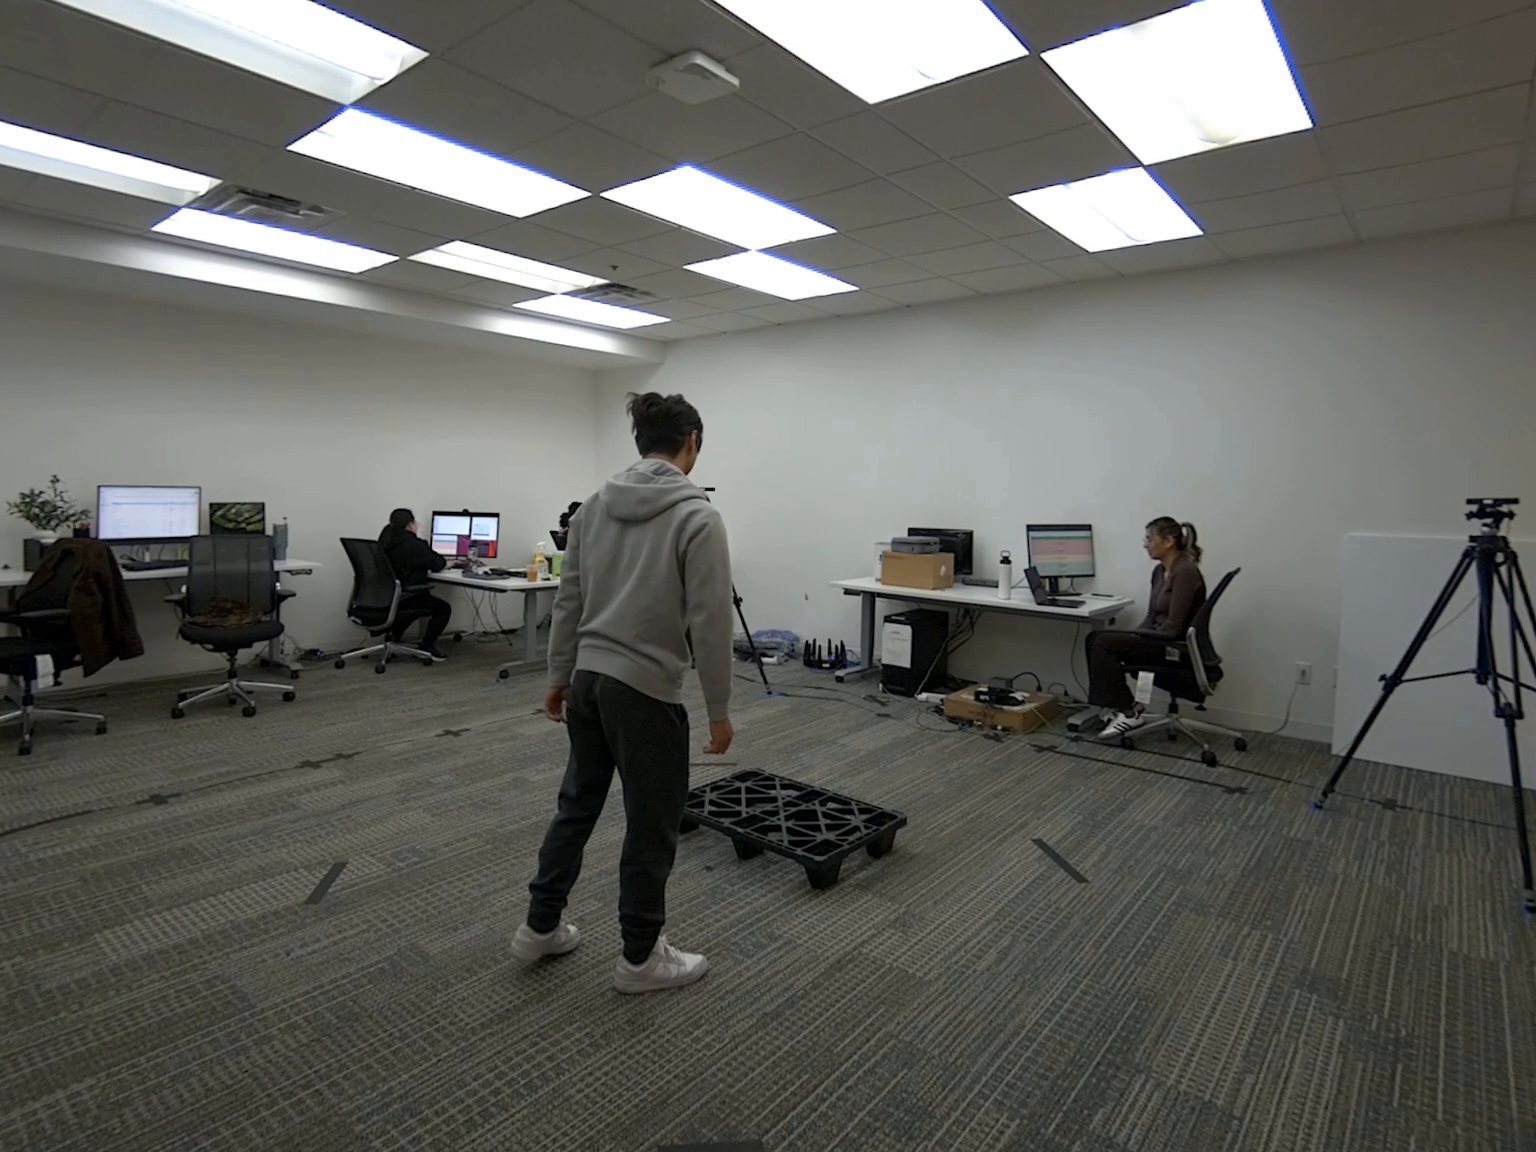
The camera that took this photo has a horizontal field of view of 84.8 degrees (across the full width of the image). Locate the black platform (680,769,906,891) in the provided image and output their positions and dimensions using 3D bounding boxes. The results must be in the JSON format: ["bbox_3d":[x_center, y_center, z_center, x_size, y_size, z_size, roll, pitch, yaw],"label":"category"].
[{"bbox_3d":[0.043,0.980,3.364,0.833,0.143,0.587,6,8,41],"label":"black platform"}]
